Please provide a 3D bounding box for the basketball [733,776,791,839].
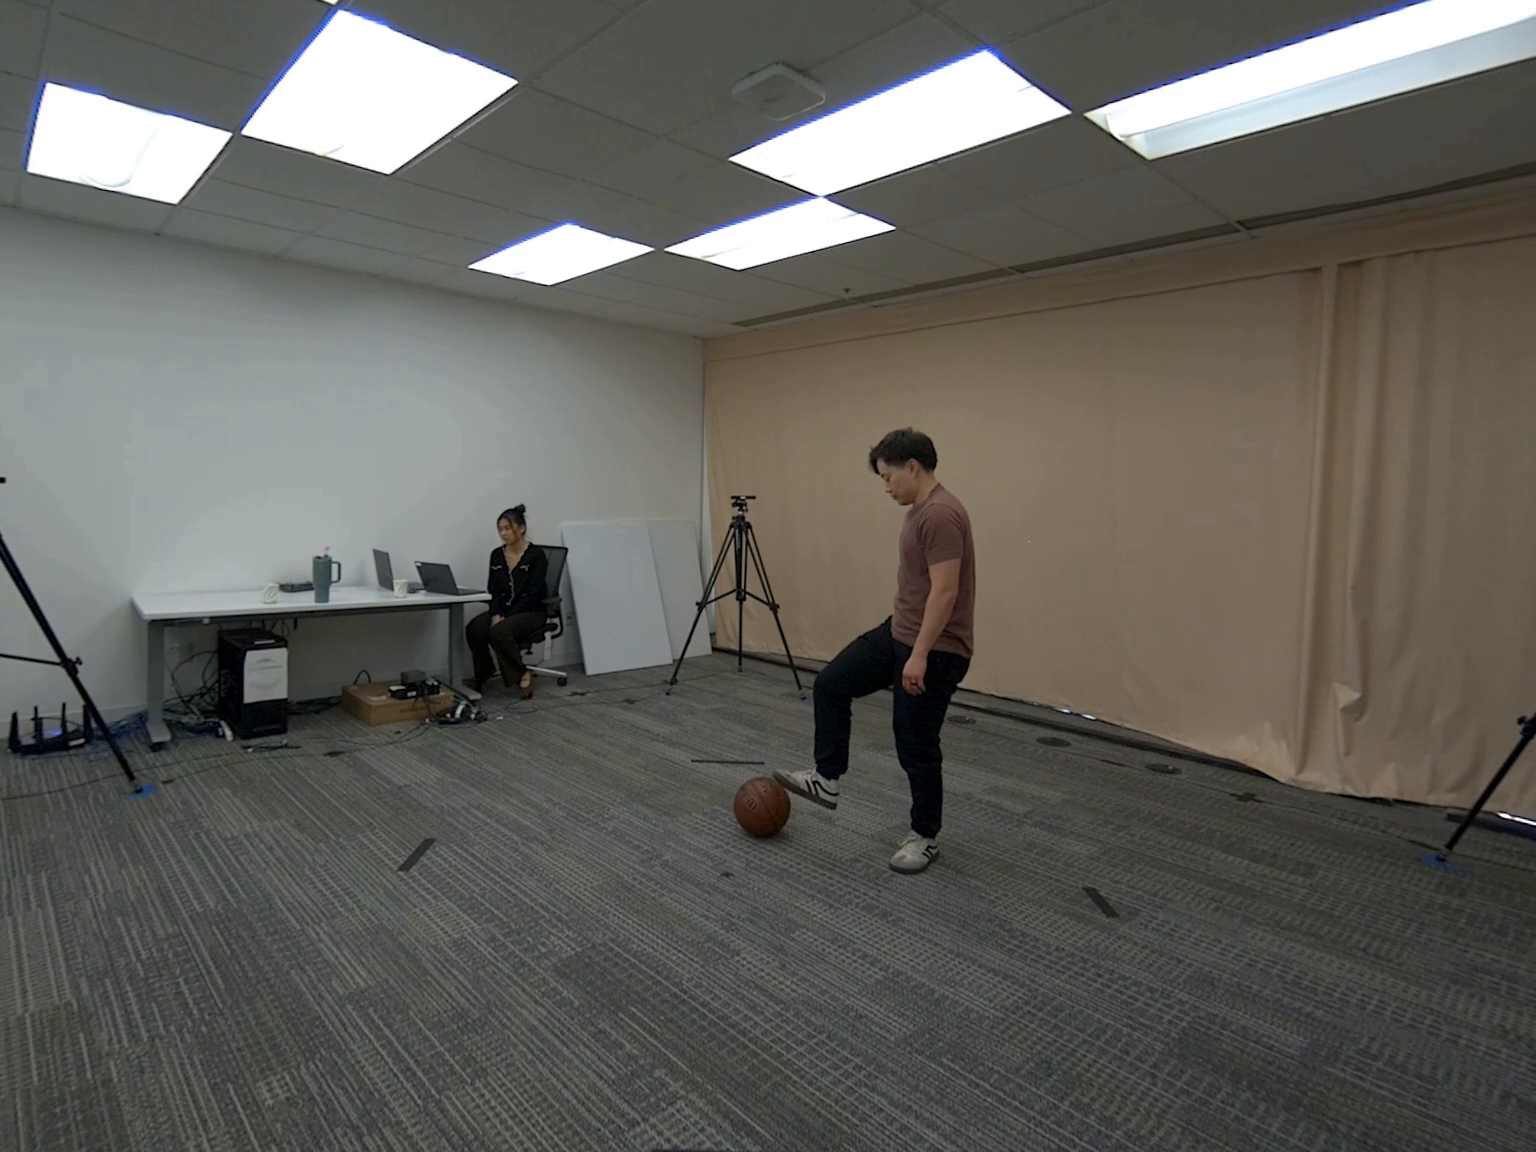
[{"bbox_3d":[-0.034,0.951,3.484,0.236,0.235,0.237,1,4,-1],"label":"basketball"}]
